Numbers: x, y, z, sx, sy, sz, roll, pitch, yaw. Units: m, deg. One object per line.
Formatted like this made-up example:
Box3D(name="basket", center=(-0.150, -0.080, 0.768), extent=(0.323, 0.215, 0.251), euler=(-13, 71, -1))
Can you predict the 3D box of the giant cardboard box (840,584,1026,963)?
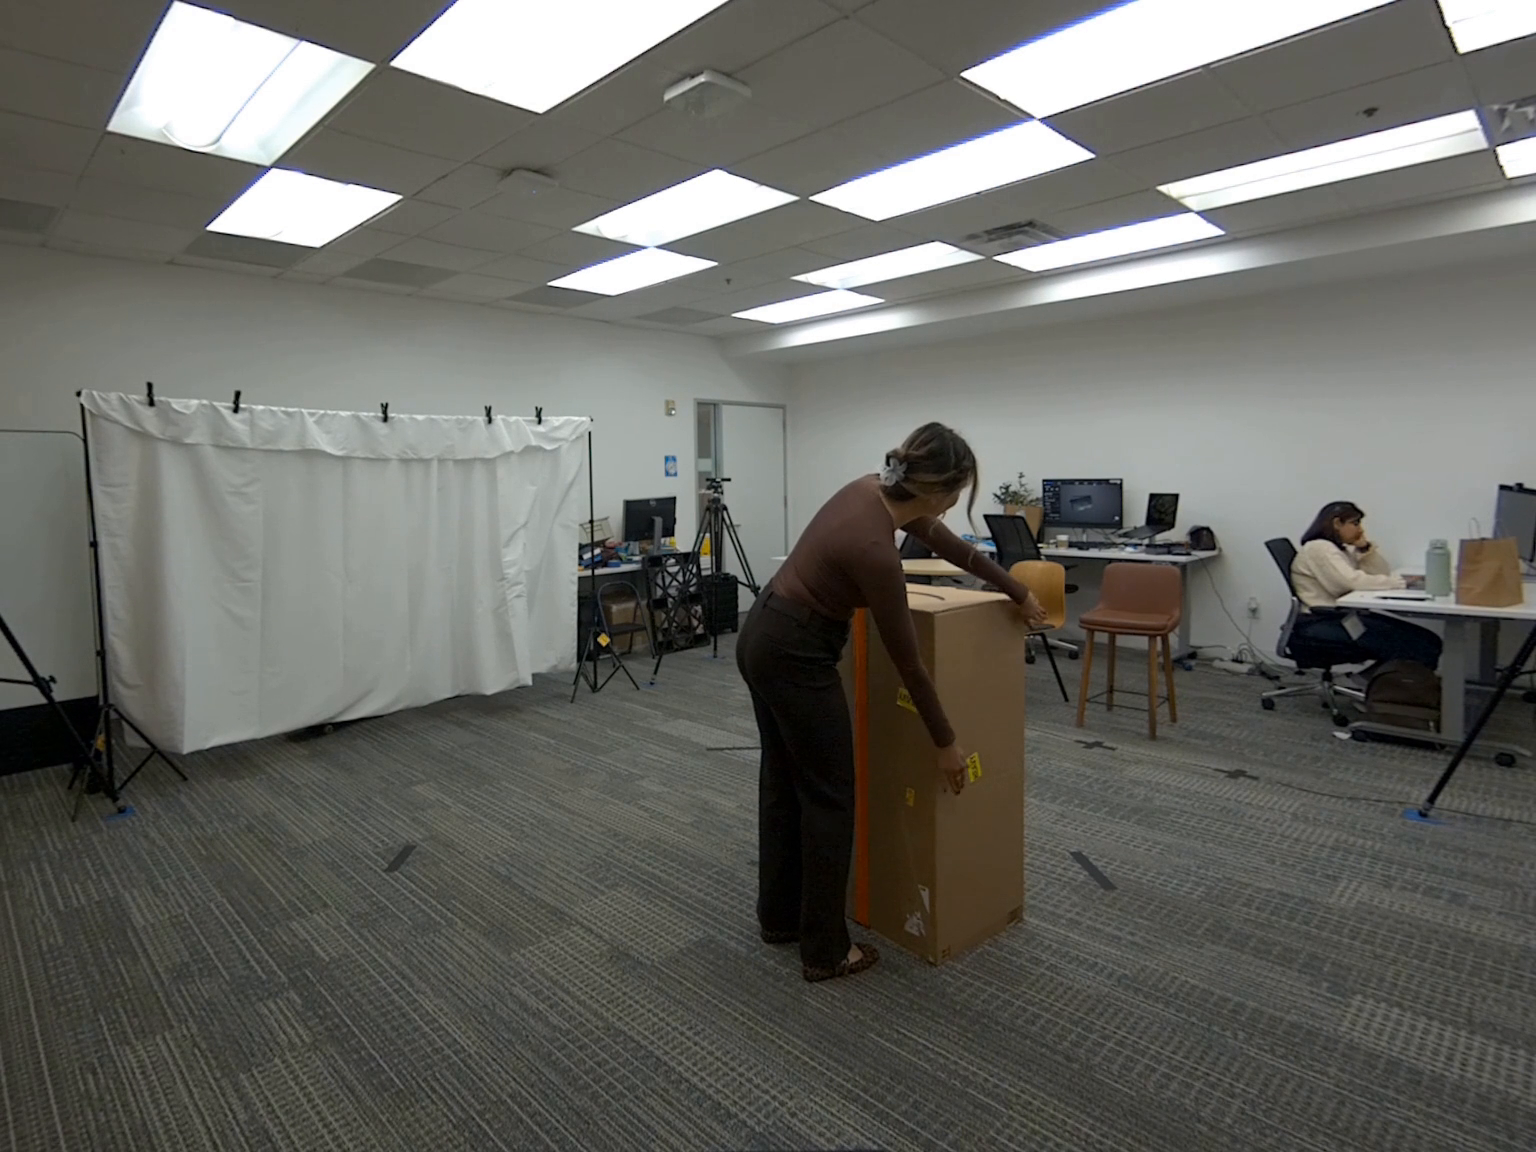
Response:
Box3D(name="giant cardboard box", center=(0.453, 0.564, 2.750), extent=(0.435, 1.023, 0.601), euler=(-5, 6, -37))
